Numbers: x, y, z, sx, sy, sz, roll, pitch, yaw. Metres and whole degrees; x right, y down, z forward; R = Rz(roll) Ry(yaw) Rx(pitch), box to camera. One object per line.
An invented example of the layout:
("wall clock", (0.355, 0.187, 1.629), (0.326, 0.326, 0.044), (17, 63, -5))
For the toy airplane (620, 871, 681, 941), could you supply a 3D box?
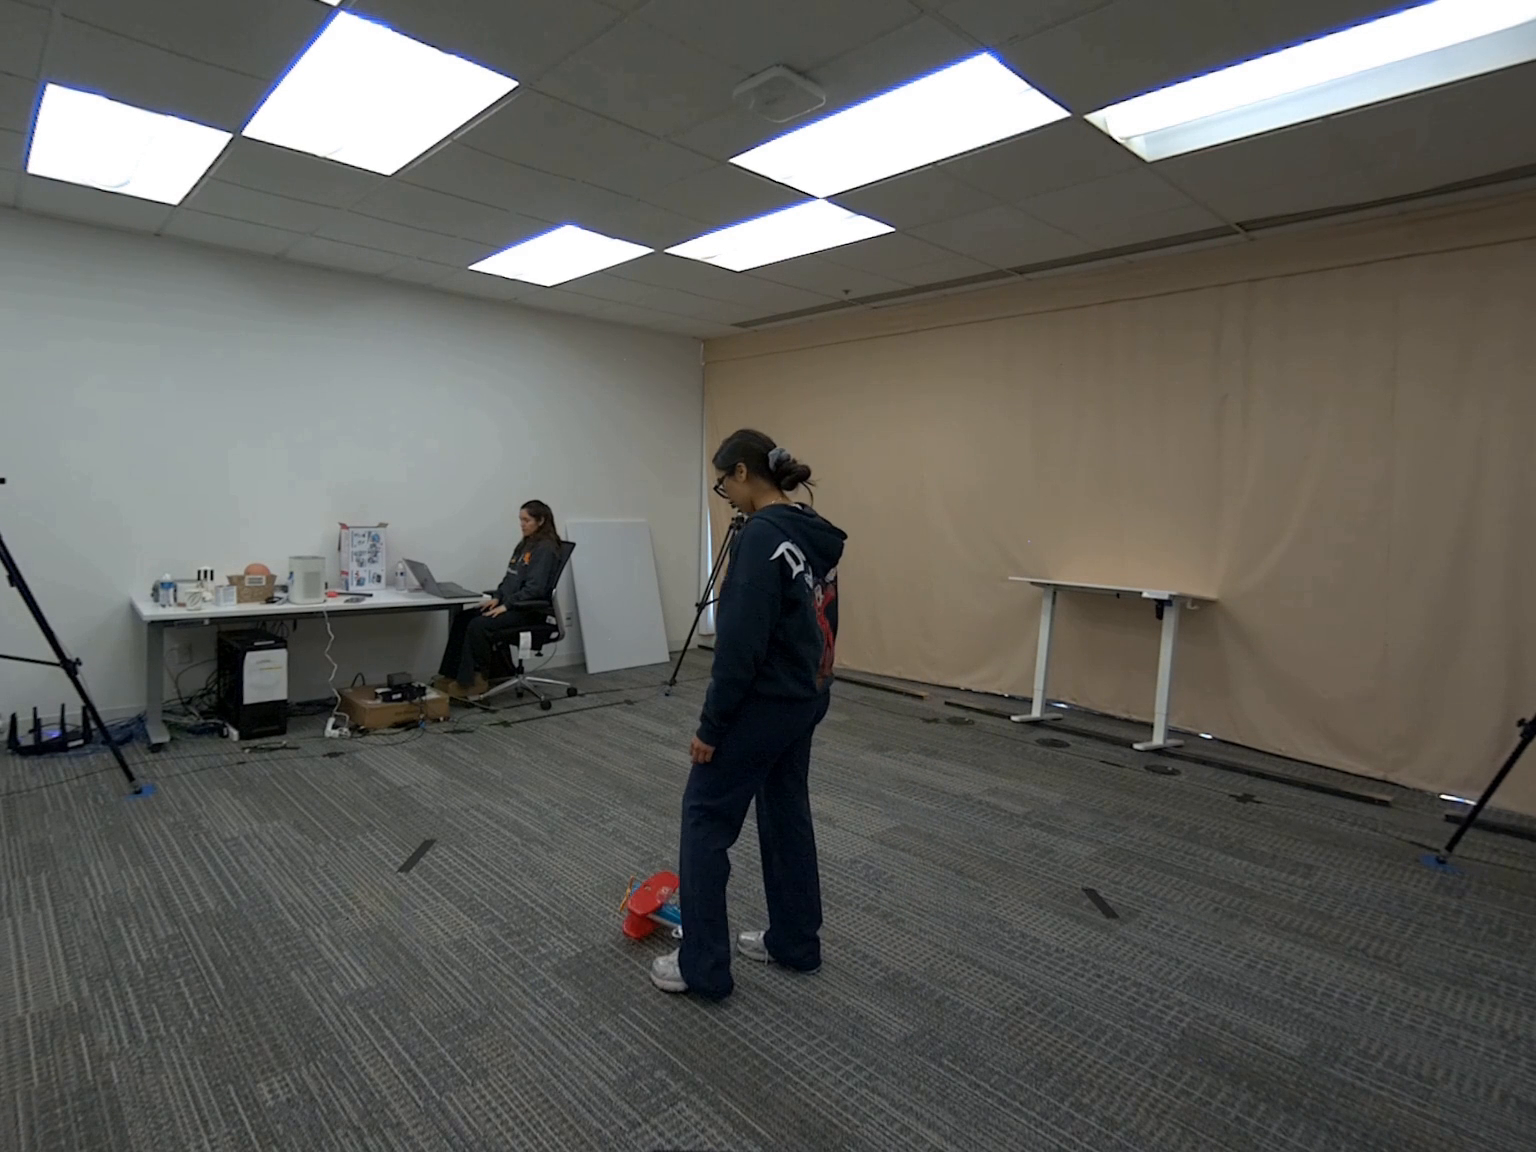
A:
("toy airplane", (-0.334, 1.065, 2.683), (0.258, 0.155, 0.254), (1, 8, -6))
